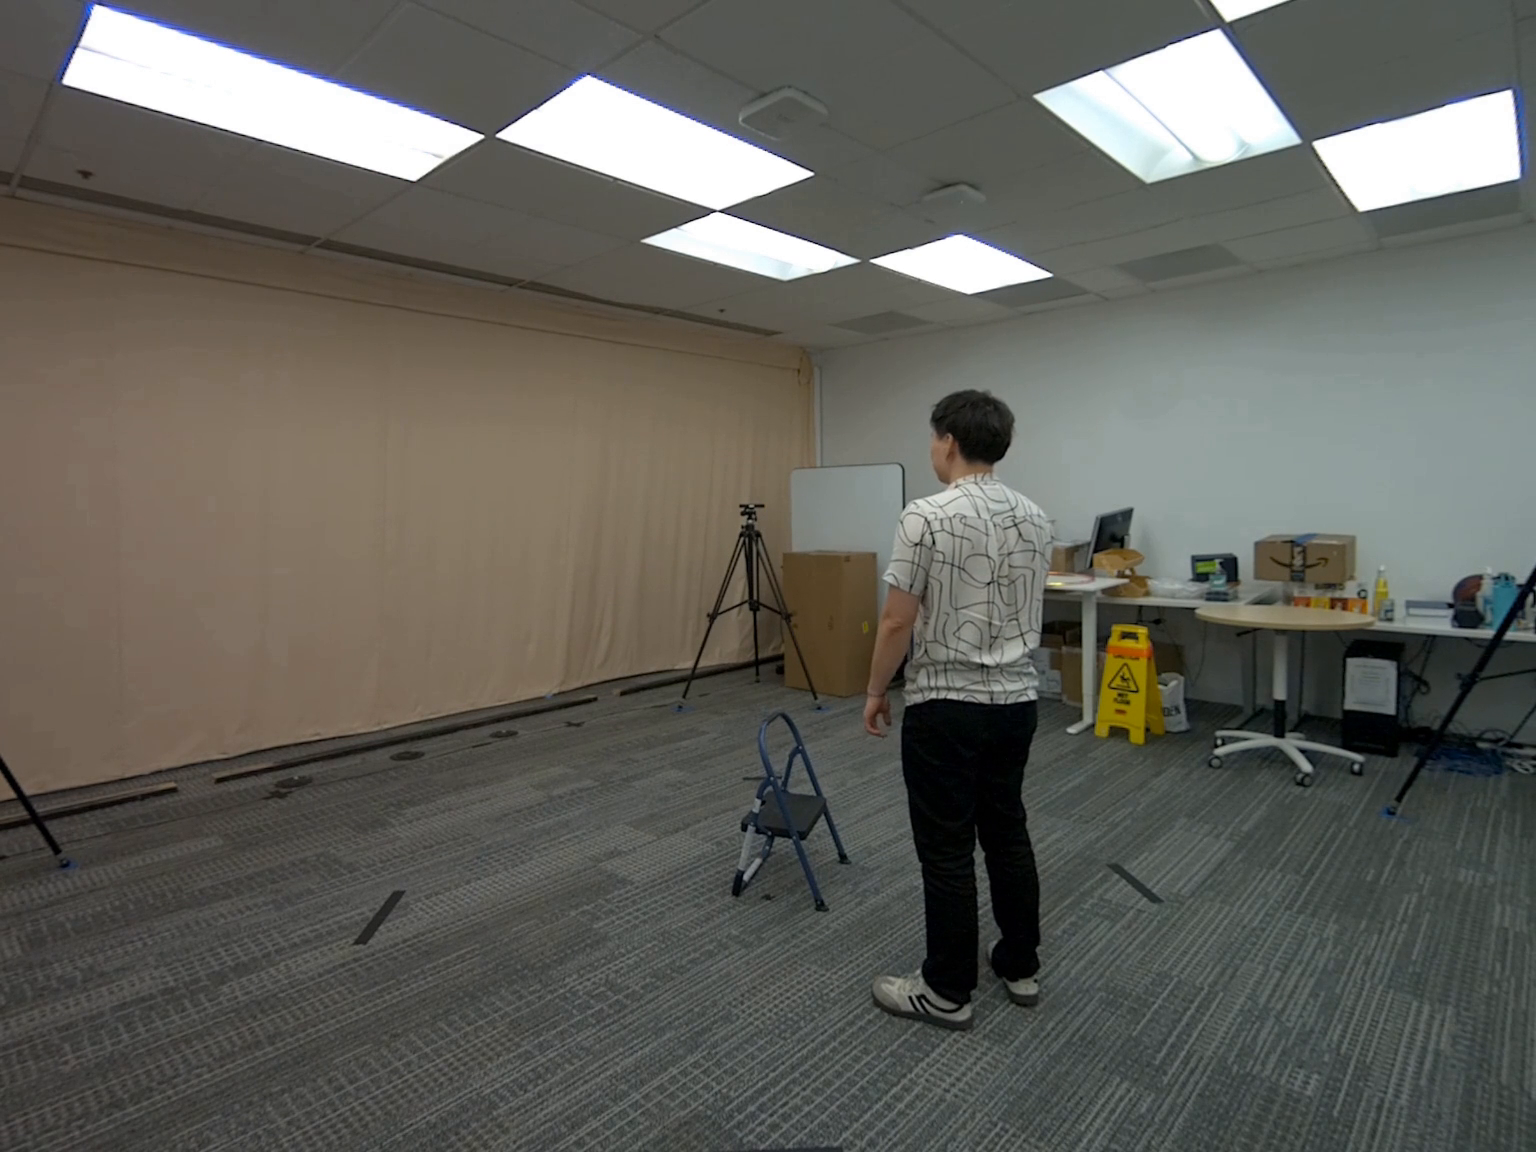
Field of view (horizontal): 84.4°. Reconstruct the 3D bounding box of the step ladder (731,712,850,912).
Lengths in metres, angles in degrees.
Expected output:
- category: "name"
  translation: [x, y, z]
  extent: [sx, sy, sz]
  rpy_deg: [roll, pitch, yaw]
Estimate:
- category: "step ladder"
  translation: [0.093, 0.822, 3.113]
  extent: [0.356, 0.605, 0.423]
  rpy_deg: [1, 4, 18]
